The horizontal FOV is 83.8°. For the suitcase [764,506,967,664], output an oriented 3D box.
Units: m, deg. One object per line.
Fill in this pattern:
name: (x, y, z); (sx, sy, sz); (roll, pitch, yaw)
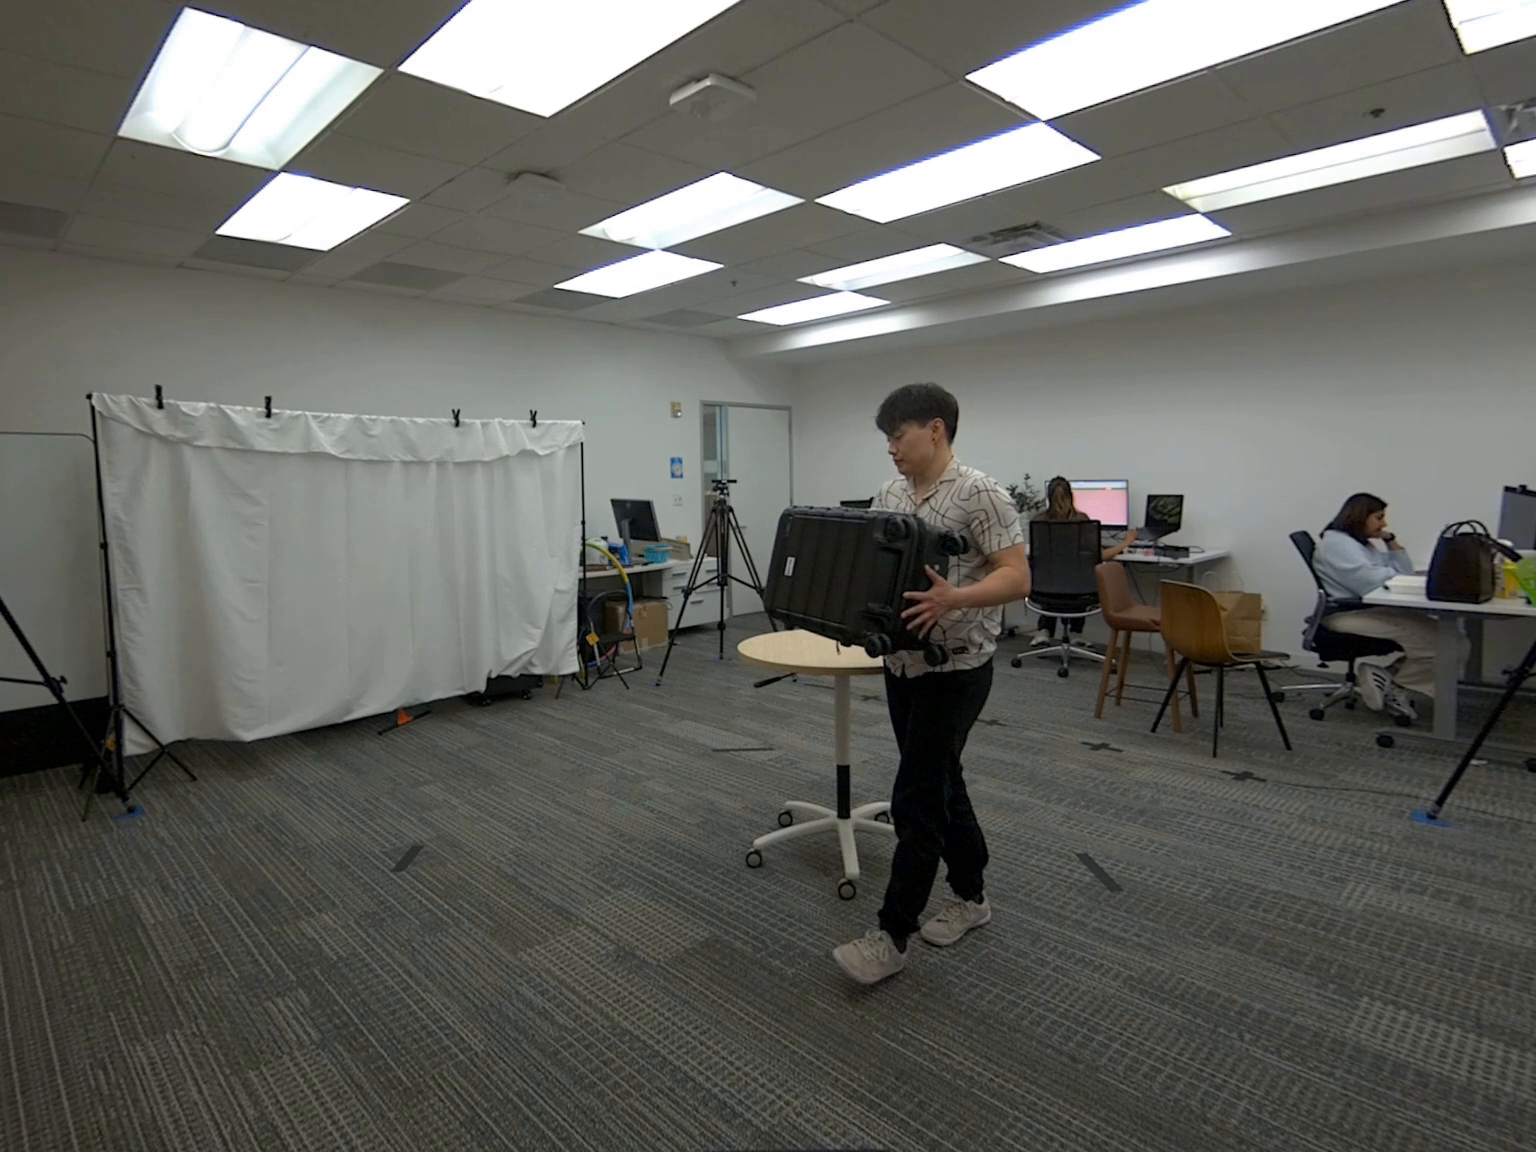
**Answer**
suitcase: (0.243, -0.009, 2.353); (0.241, 0.375, 0.566); (12, 0, -34)
